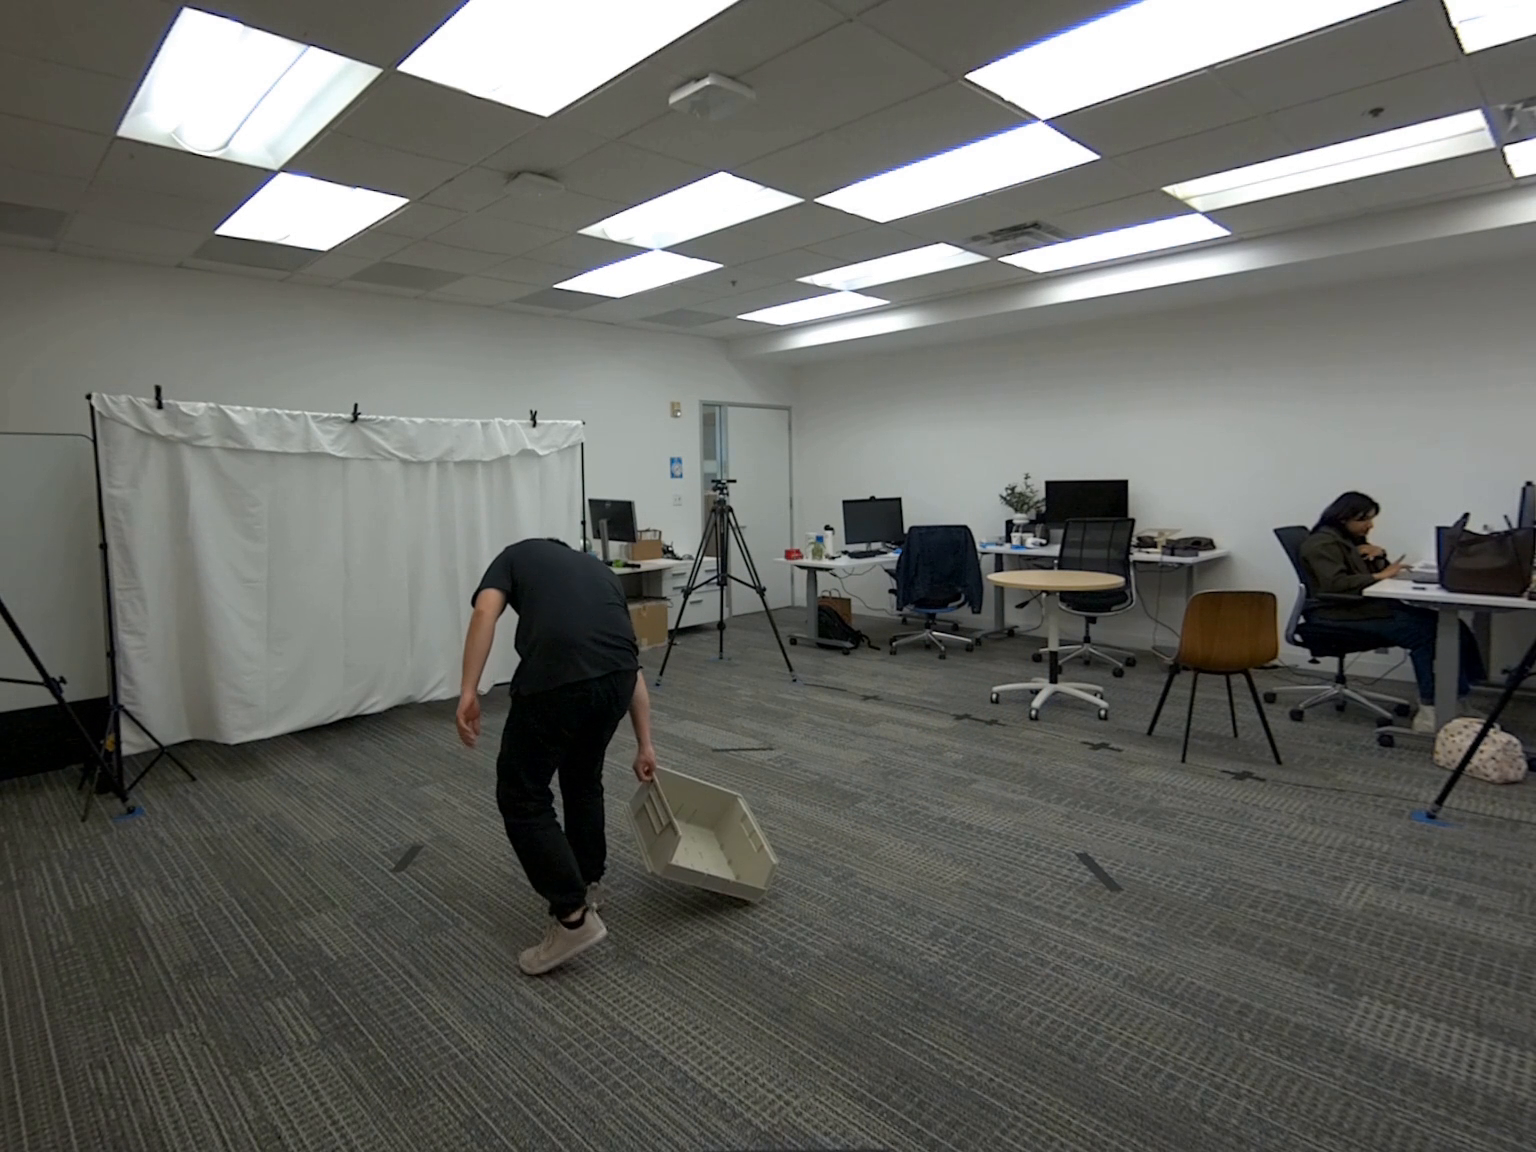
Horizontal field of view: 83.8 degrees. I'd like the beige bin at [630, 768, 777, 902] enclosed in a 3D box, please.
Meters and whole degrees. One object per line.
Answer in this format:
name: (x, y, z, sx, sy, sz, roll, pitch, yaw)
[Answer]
beige bin: (-0.220, 0.869, 2.855, 0.407, 0.188, 0.391, 27, 9, -35)
